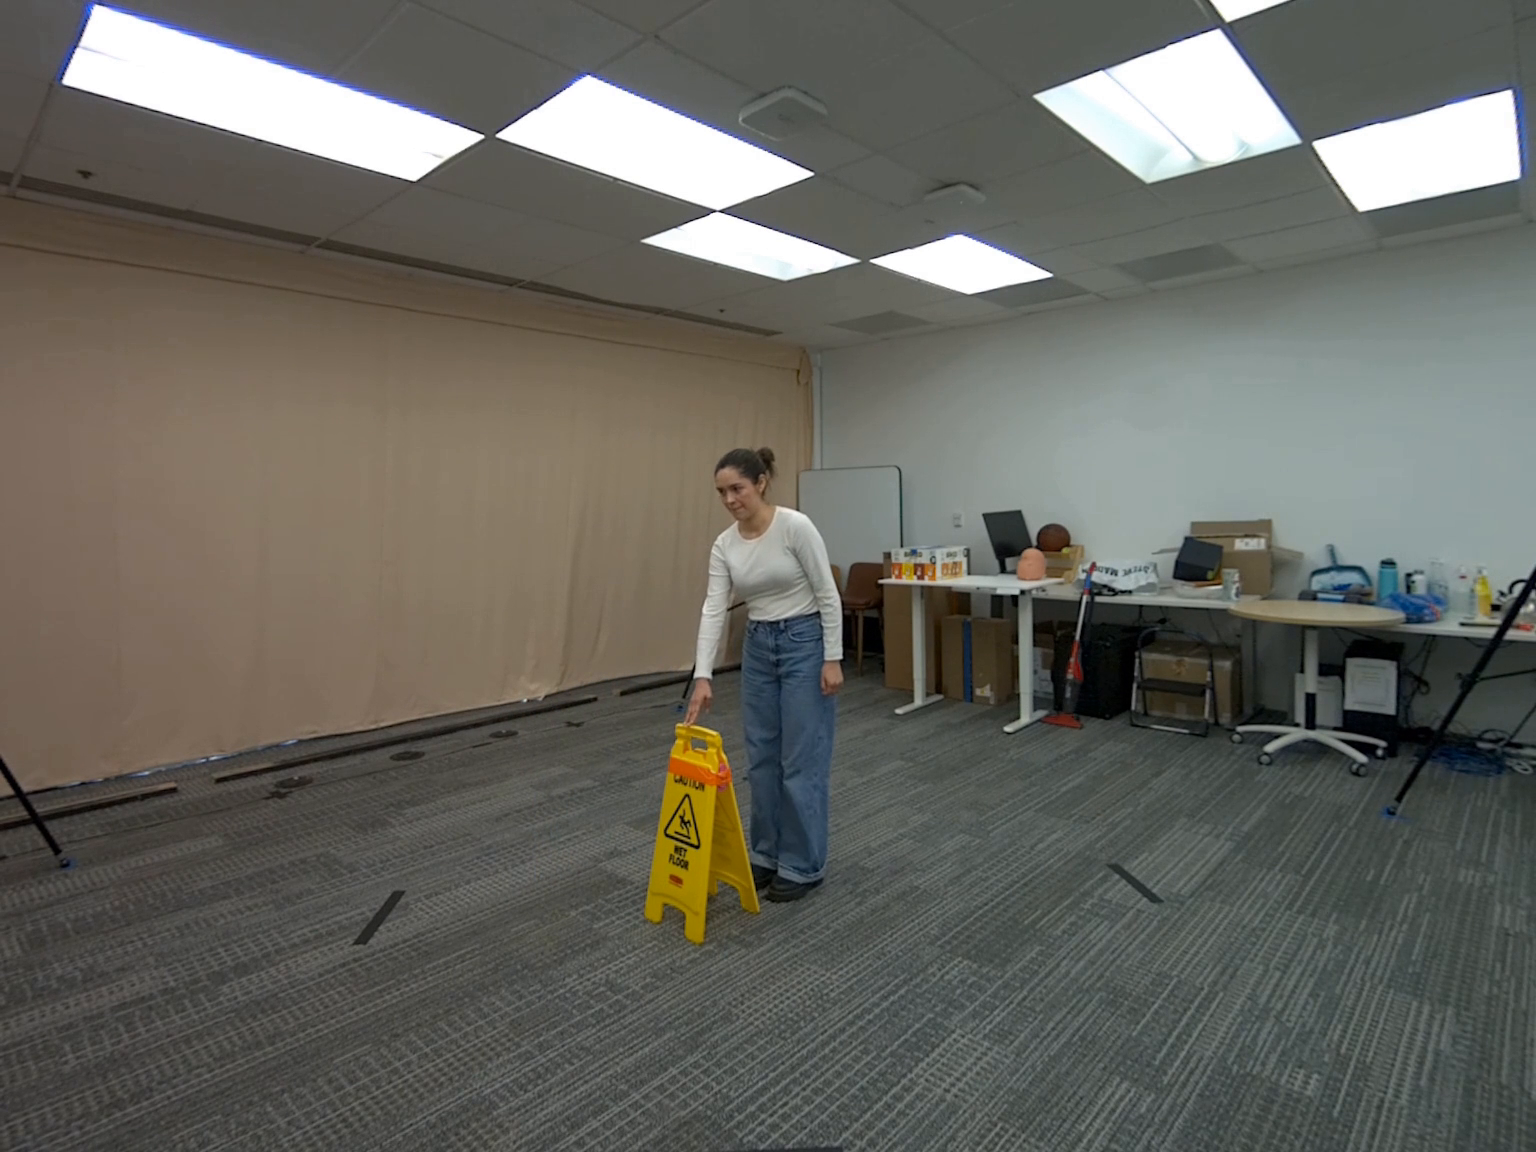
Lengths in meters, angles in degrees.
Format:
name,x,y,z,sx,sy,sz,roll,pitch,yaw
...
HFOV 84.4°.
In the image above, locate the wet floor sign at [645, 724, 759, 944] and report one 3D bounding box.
name,x,y,z,sx,sy,sz,roll,pitch,yaw
wet floor sign,-0.227,0.831,2.845,0.291,0.645,0.281,1,4,43
